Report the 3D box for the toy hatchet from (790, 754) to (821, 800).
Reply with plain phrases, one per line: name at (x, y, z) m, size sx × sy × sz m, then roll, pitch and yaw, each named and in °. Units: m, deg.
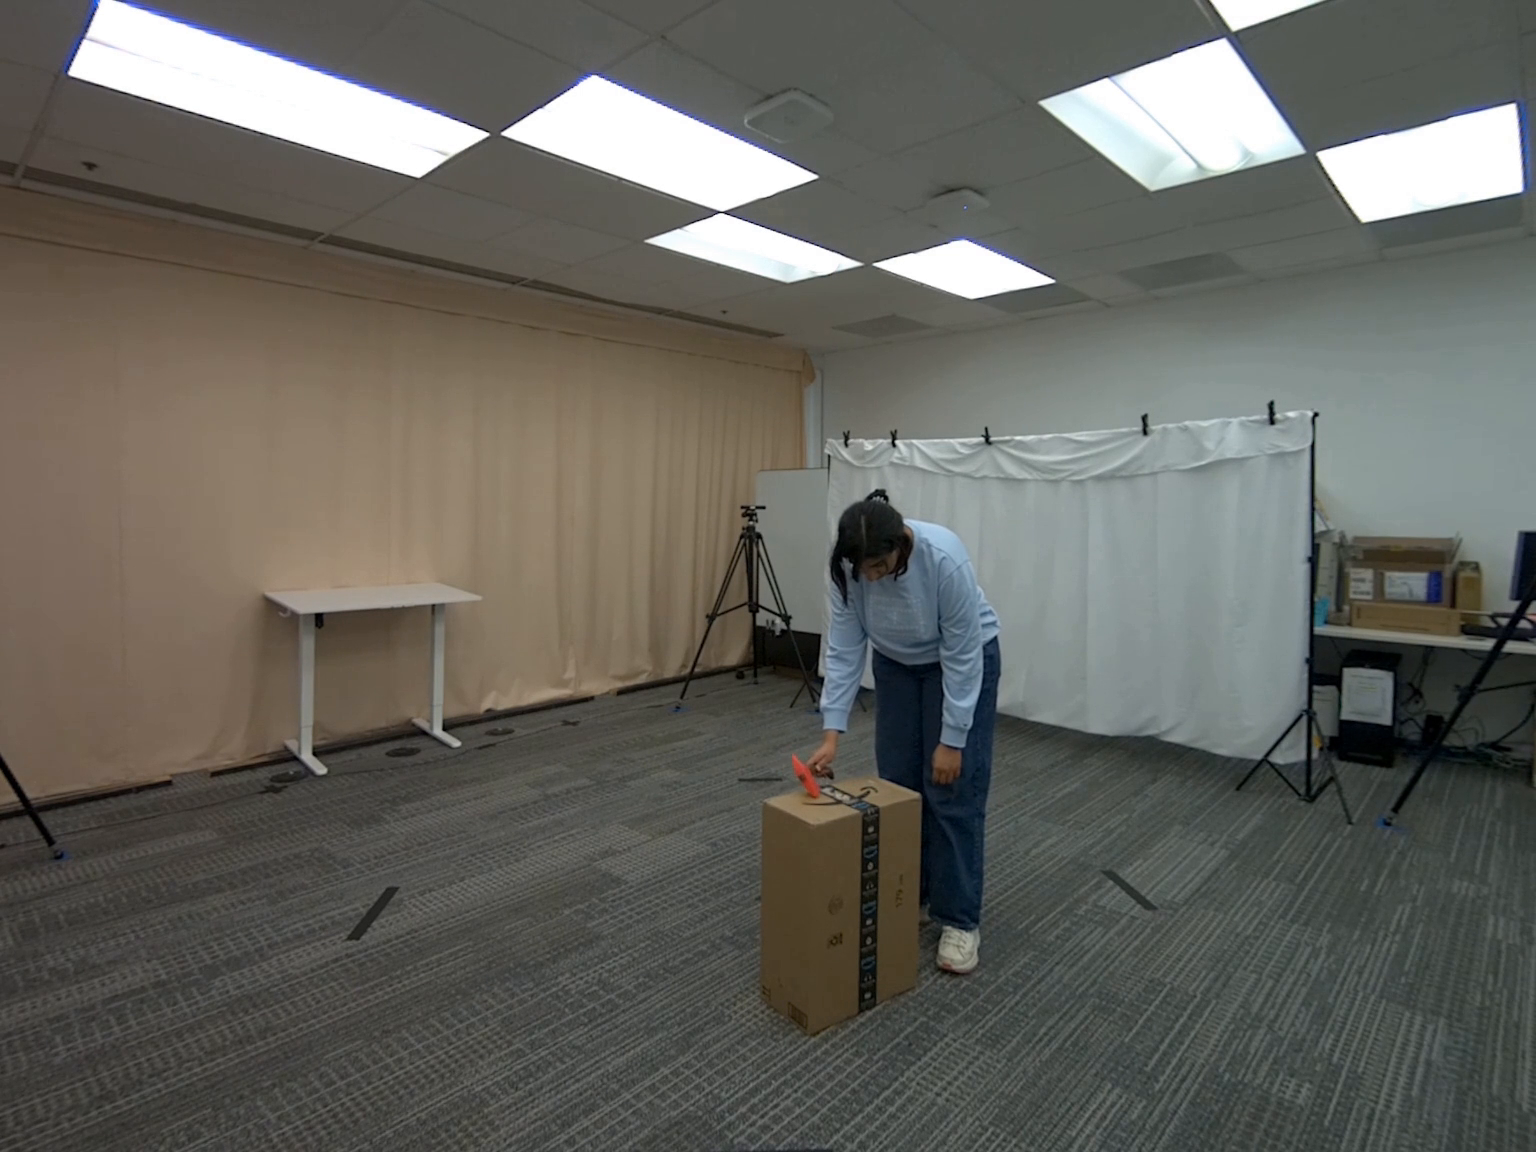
toy hatchet at (0.156, 0.607, 2.478) m, size 0.030 × 0.135 × 0.261 m, roll -37°, pitch -29°, yaw 11°
